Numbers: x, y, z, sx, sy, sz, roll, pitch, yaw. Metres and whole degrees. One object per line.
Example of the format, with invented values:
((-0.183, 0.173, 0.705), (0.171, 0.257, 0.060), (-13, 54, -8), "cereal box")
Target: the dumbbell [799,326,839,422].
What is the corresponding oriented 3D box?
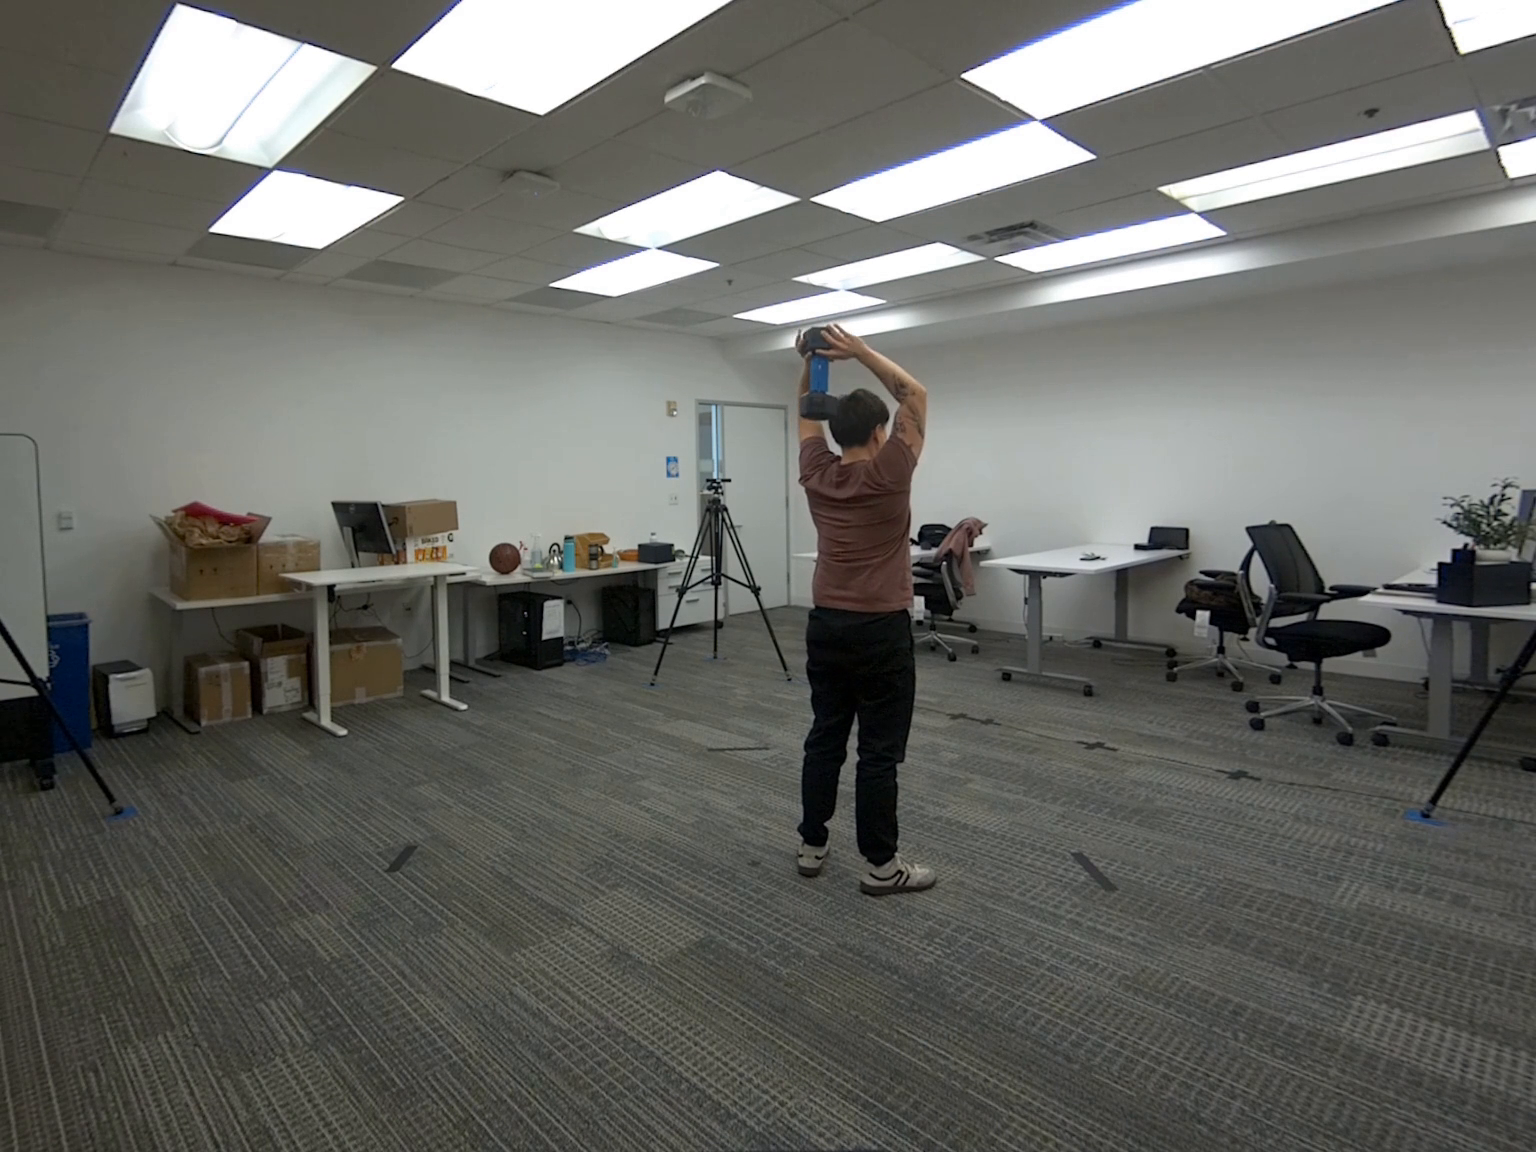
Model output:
((0.175, -0.652, 2.800), (0.112, 0.295, 0.119), (0, -6, 44), "dumbbell")
